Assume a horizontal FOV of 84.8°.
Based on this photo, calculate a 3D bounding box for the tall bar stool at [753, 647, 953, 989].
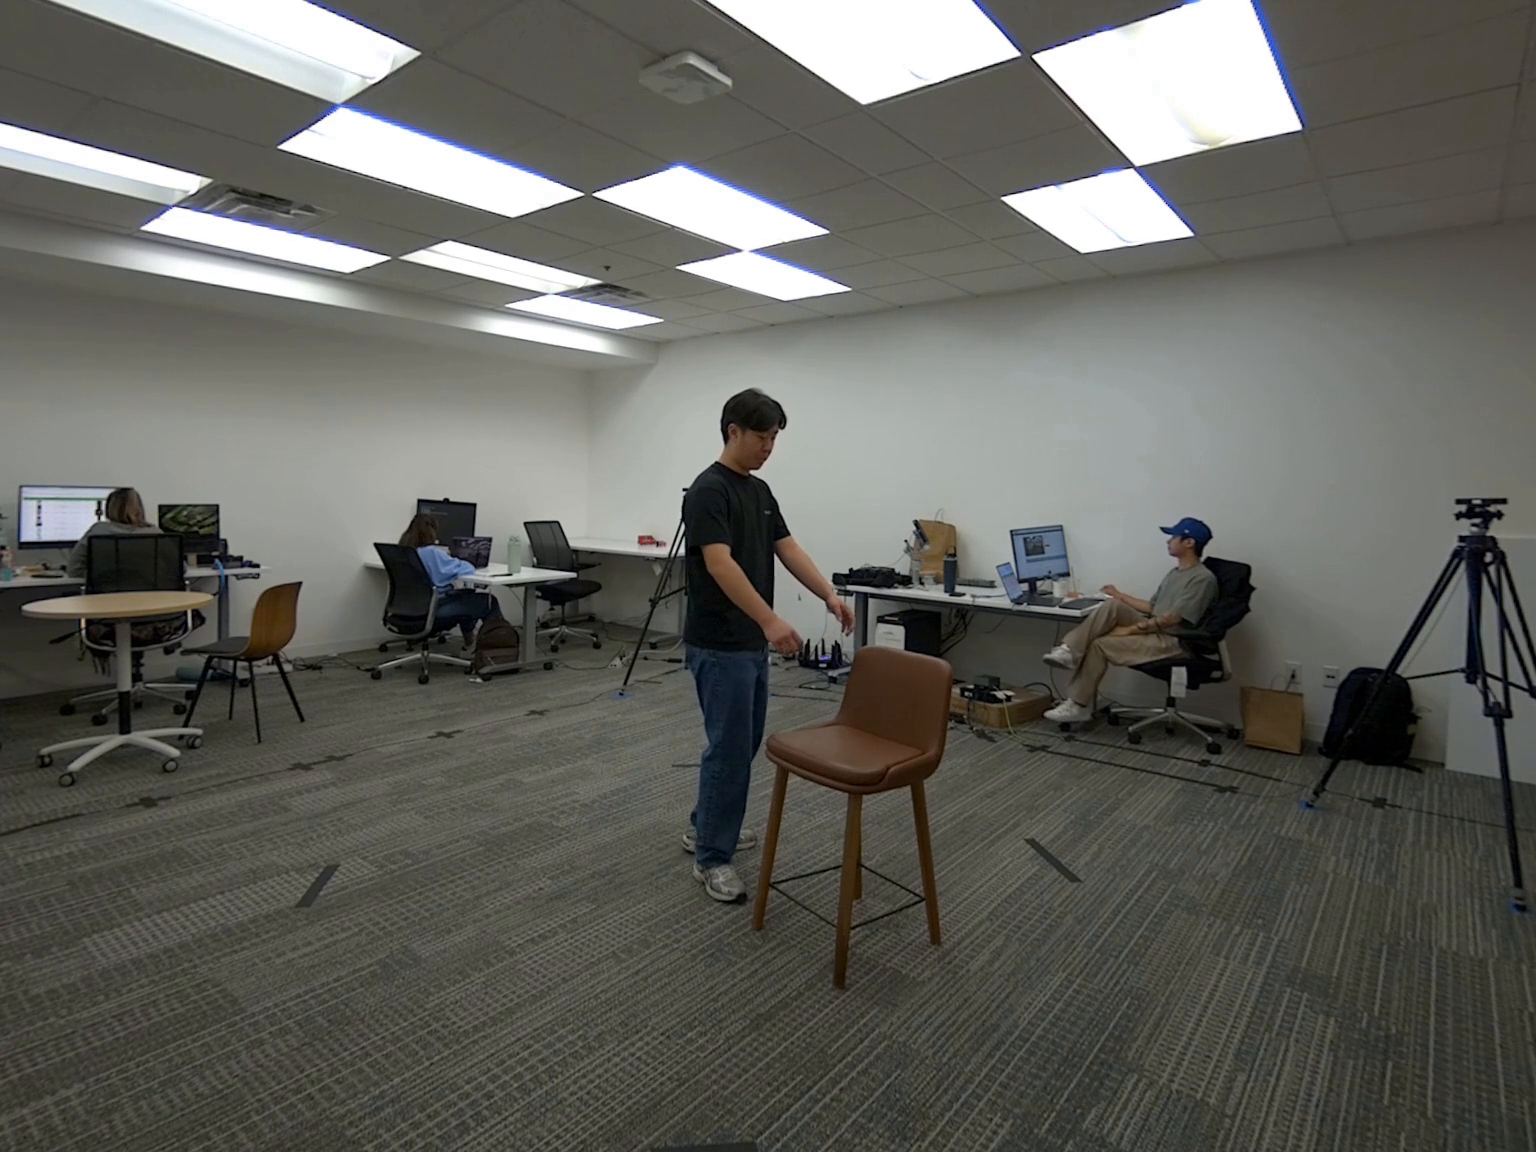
[{"bbox_3d":[0.260,0.690,2.643,0.453,0.888,0.471,2,2,-36],"label":"tall bar stool"}]
